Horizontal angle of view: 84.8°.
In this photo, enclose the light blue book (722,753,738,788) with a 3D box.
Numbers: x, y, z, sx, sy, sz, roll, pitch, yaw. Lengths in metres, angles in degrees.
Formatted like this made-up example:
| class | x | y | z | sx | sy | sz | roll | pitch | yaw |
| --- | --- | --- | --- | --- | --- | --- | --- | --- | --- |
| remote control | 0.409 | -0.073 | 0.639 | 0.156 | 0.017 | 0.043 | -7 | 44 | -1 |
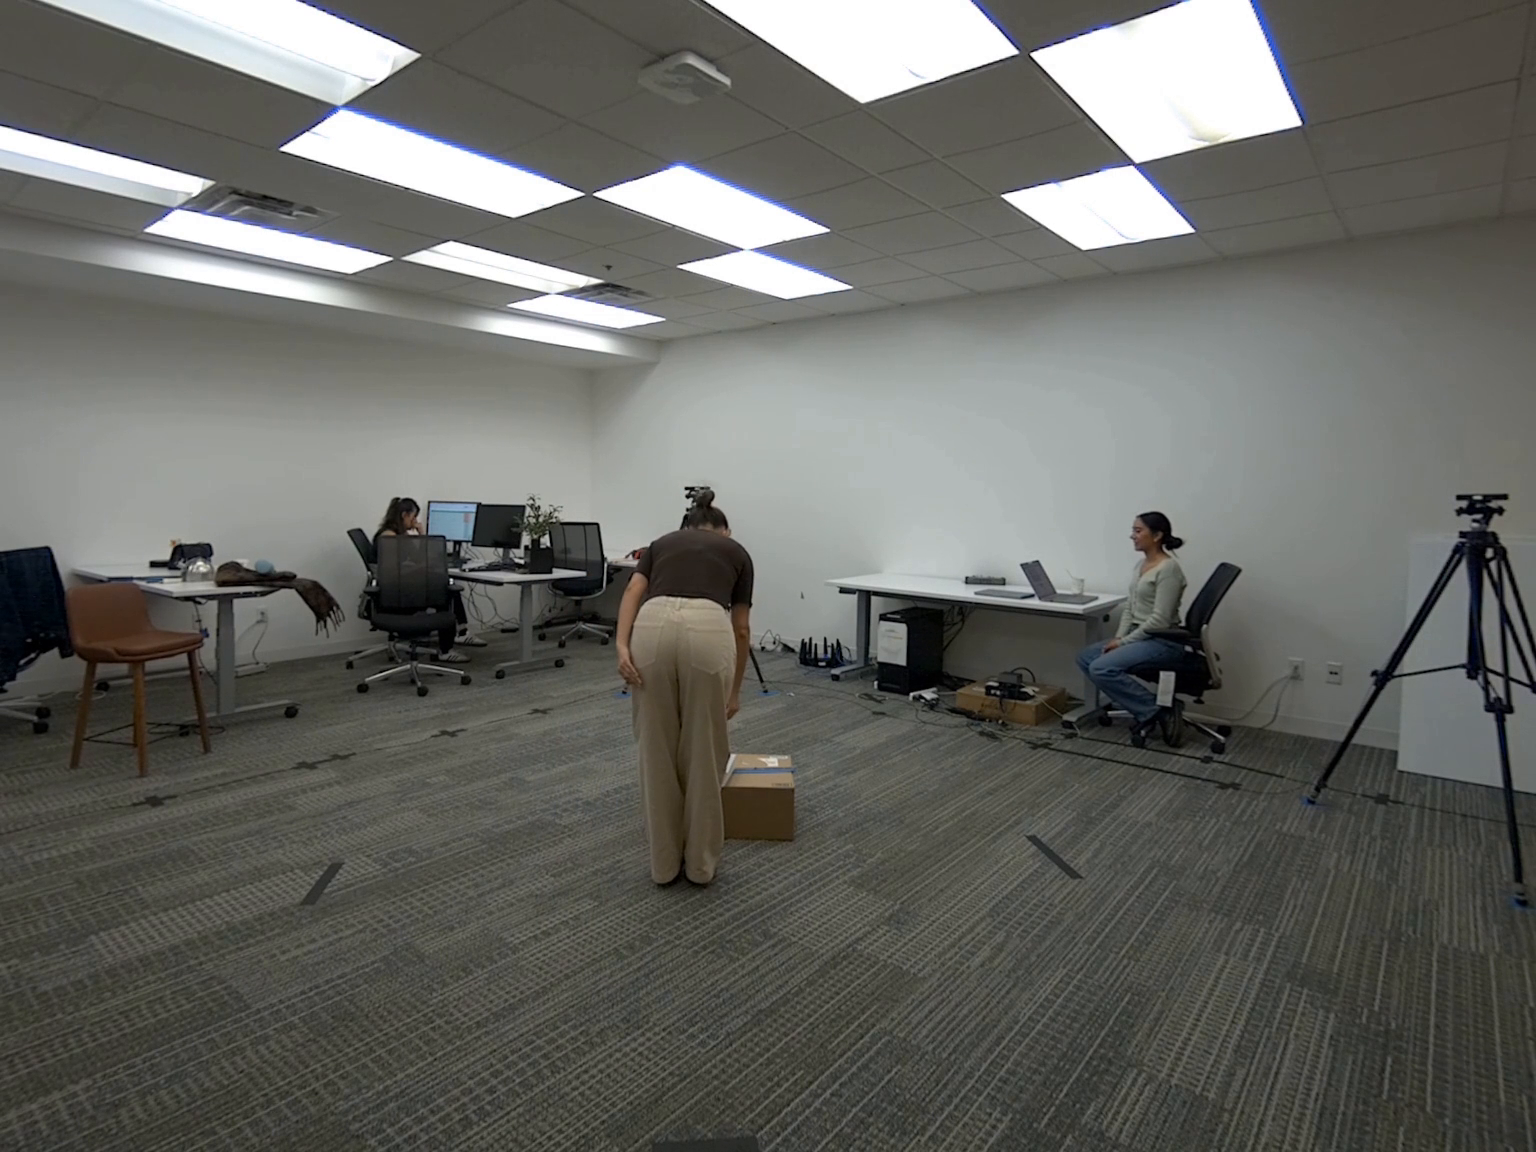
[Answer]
| class | x | y | z | sx | sy | sz | roll | pitch | yaw |
| --- | --- | --- | --- | --- | --- | --- | --- | --- | --- |
| light blue book | -0.250 | 0.782 | 3.488 | 0.193 | 0.059 | 0.259 | 2 | 5 | 7 |
